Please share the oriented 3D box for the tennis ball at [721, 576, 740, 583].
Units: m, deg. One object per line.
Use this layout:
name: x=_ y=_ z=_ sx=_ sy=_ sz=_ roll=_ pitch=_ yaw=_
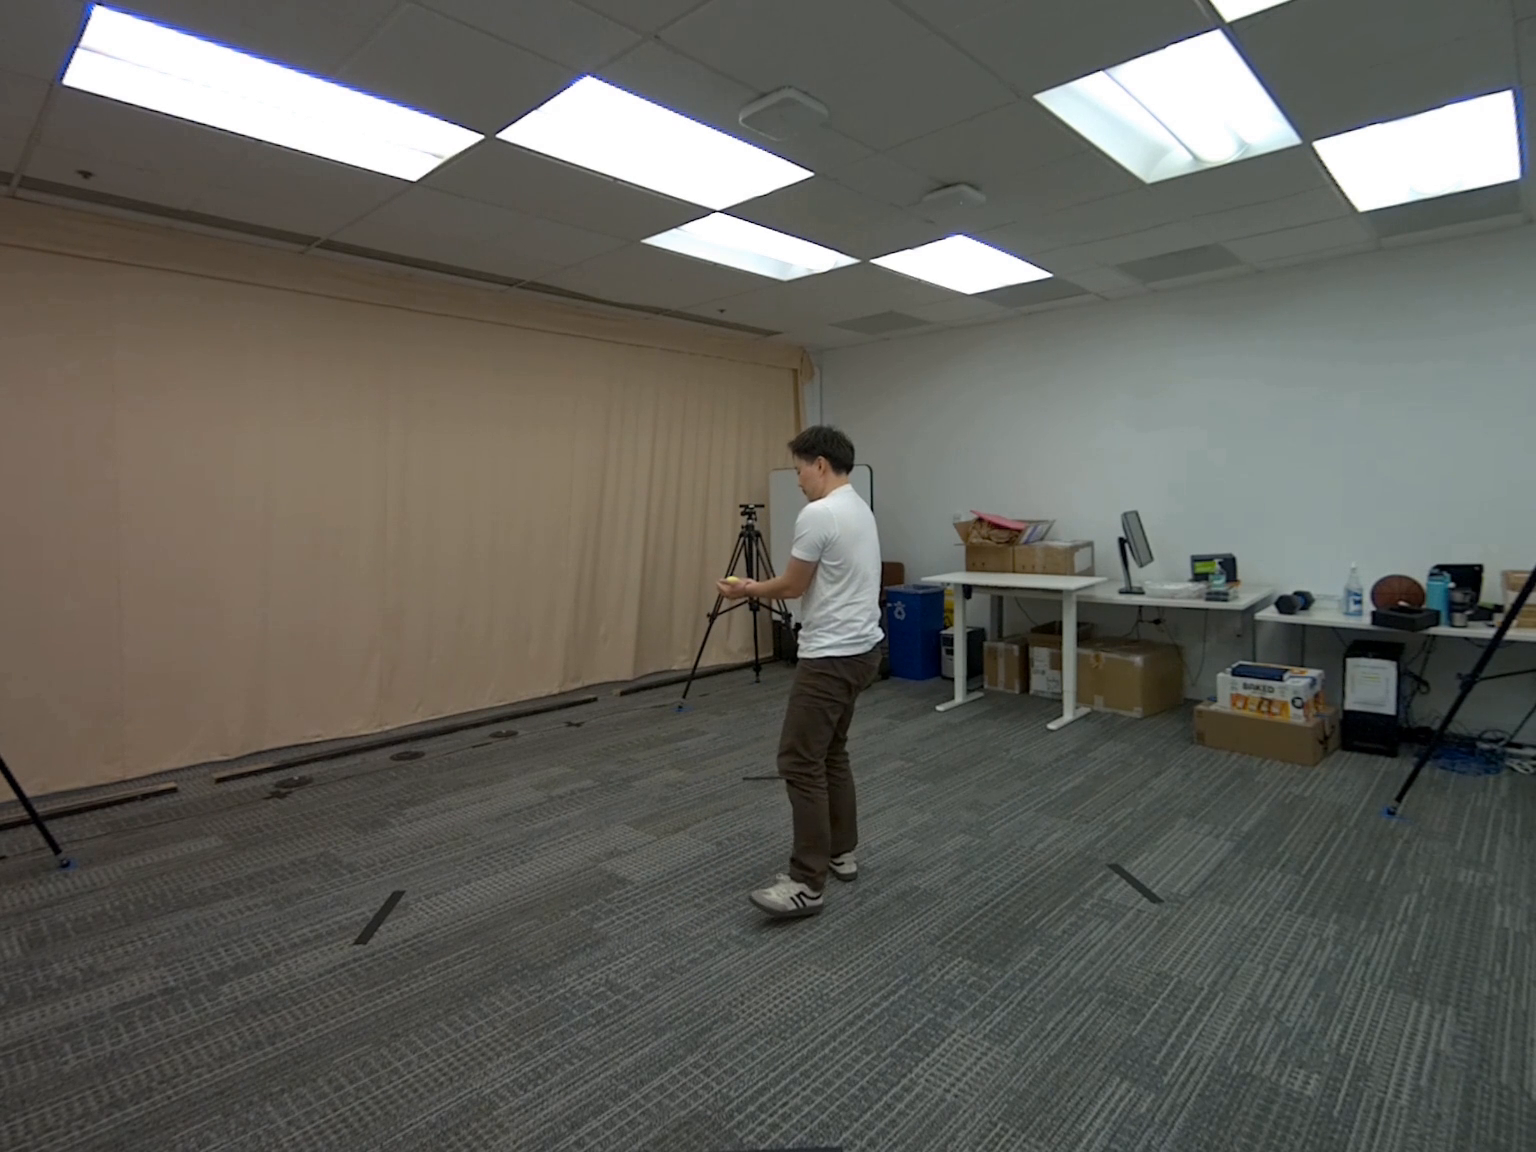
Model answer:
tennis ball: x=-0.128 y=0.047 z=3.243 sx=0.066 sy=0.066 sz=0.067 roll=-1 pitch=4 yaw=-2
